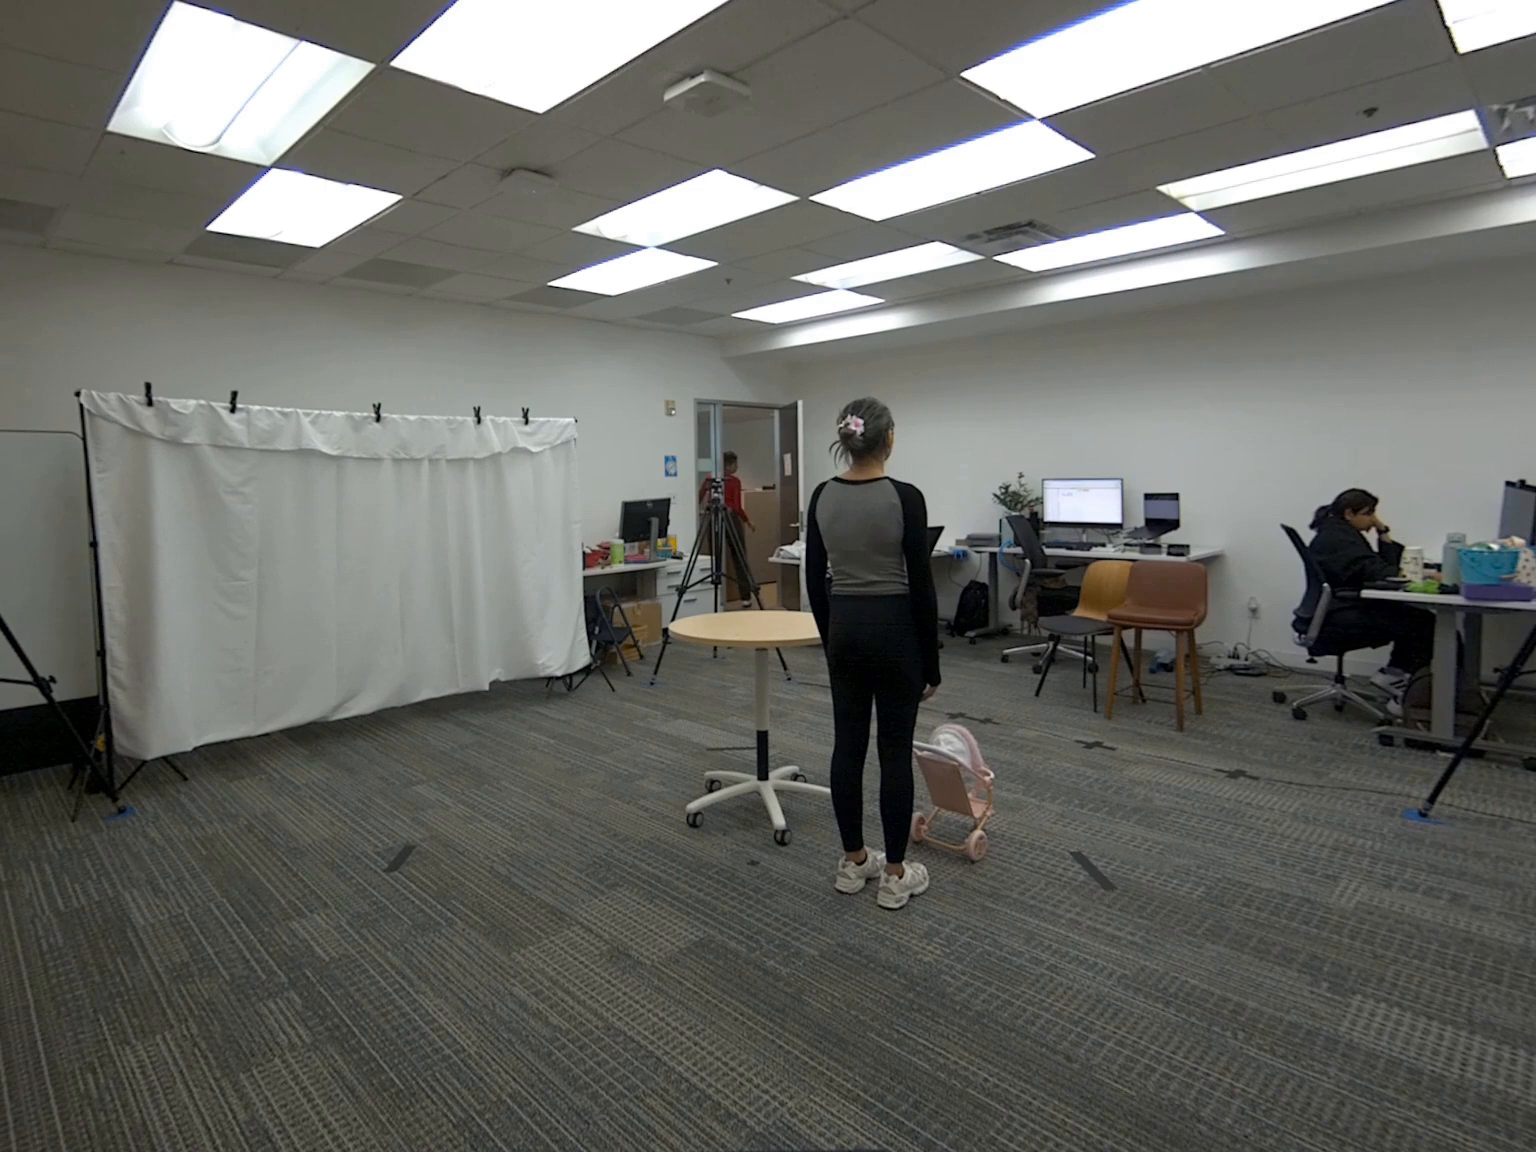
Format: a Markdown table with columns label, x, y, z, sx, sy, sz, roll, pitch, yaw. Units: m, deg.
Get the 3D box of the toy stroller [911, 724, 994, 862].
| label | x | y | z | sx | sy | sz | roll | pitch | yaw |
| --- | --- | --- | --- | --- | --- | --- | --- | --- | --- |
| toy stroller | 0.708 | 0.793 | 3.214 | 0.336 | 0.527 | 0.290 | -24 | 18 | -39 |
